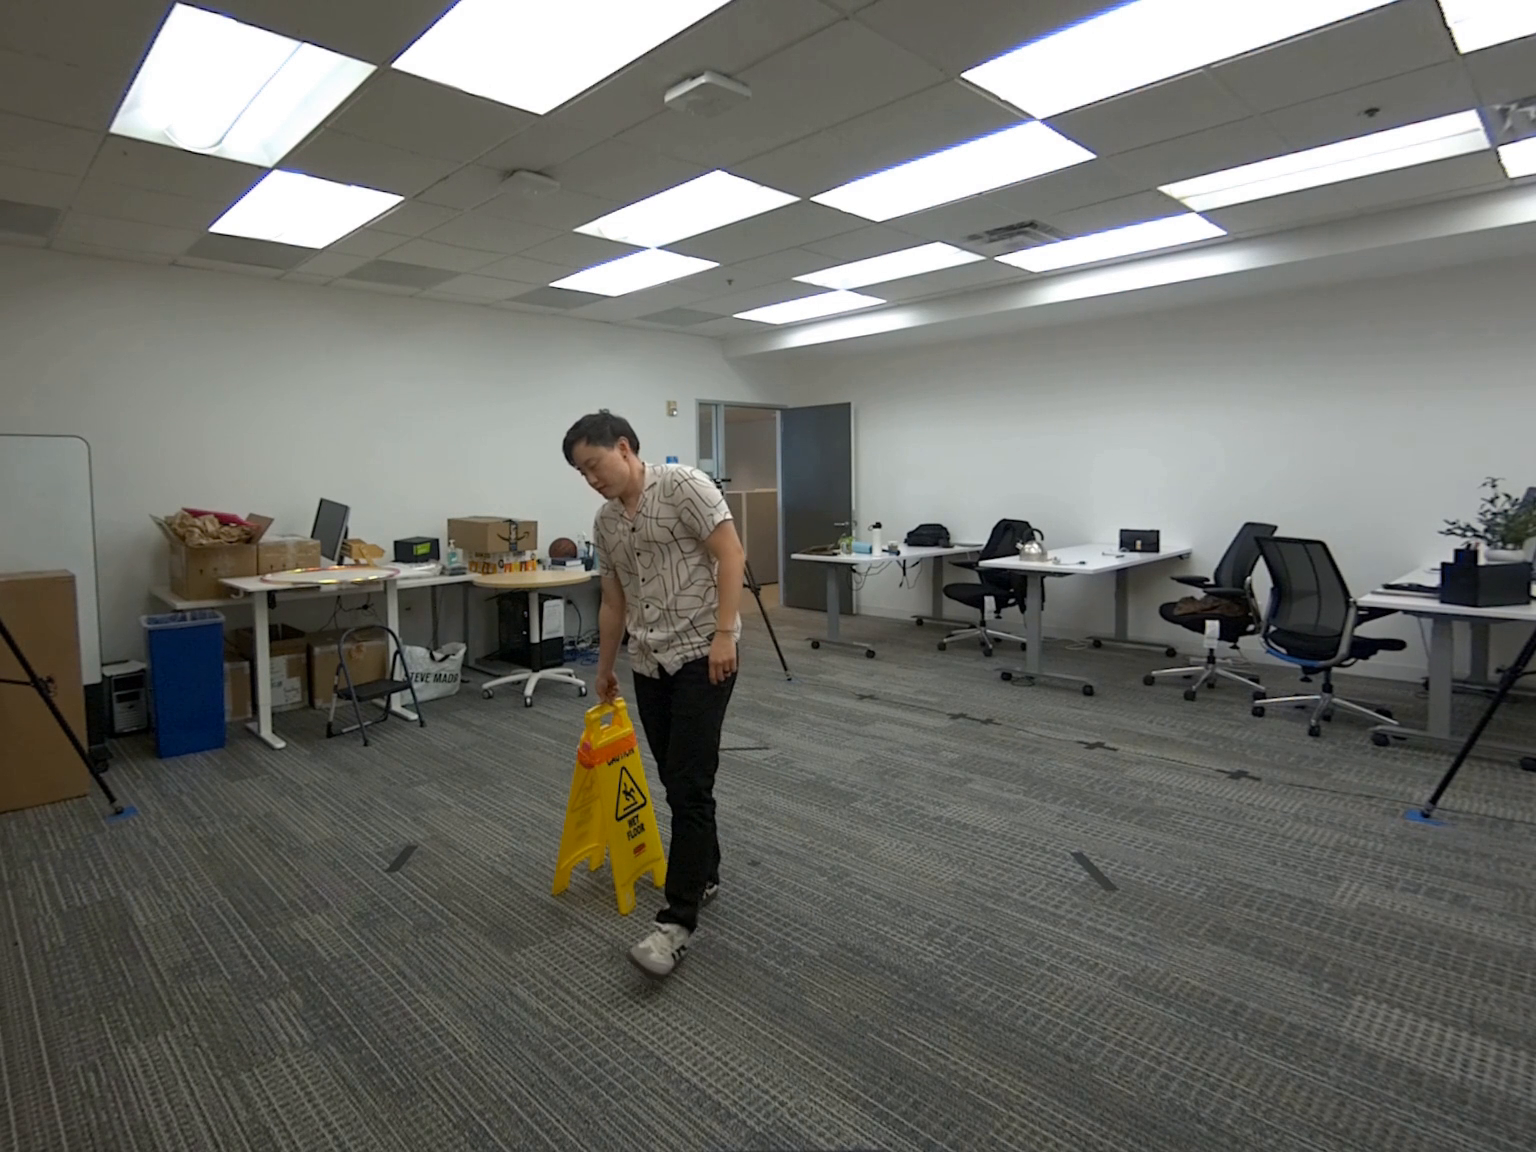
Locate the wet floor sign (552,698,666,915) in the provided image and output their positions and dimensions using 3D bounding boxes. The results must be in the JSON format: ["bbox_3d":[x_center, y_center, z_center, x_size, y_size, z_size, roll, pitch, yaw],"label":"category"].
[{"bbox_3d":[-0.539,0.751,2.915,0.297,0.643,0.276,2,6,28],"label":"wet floor sign"}]
